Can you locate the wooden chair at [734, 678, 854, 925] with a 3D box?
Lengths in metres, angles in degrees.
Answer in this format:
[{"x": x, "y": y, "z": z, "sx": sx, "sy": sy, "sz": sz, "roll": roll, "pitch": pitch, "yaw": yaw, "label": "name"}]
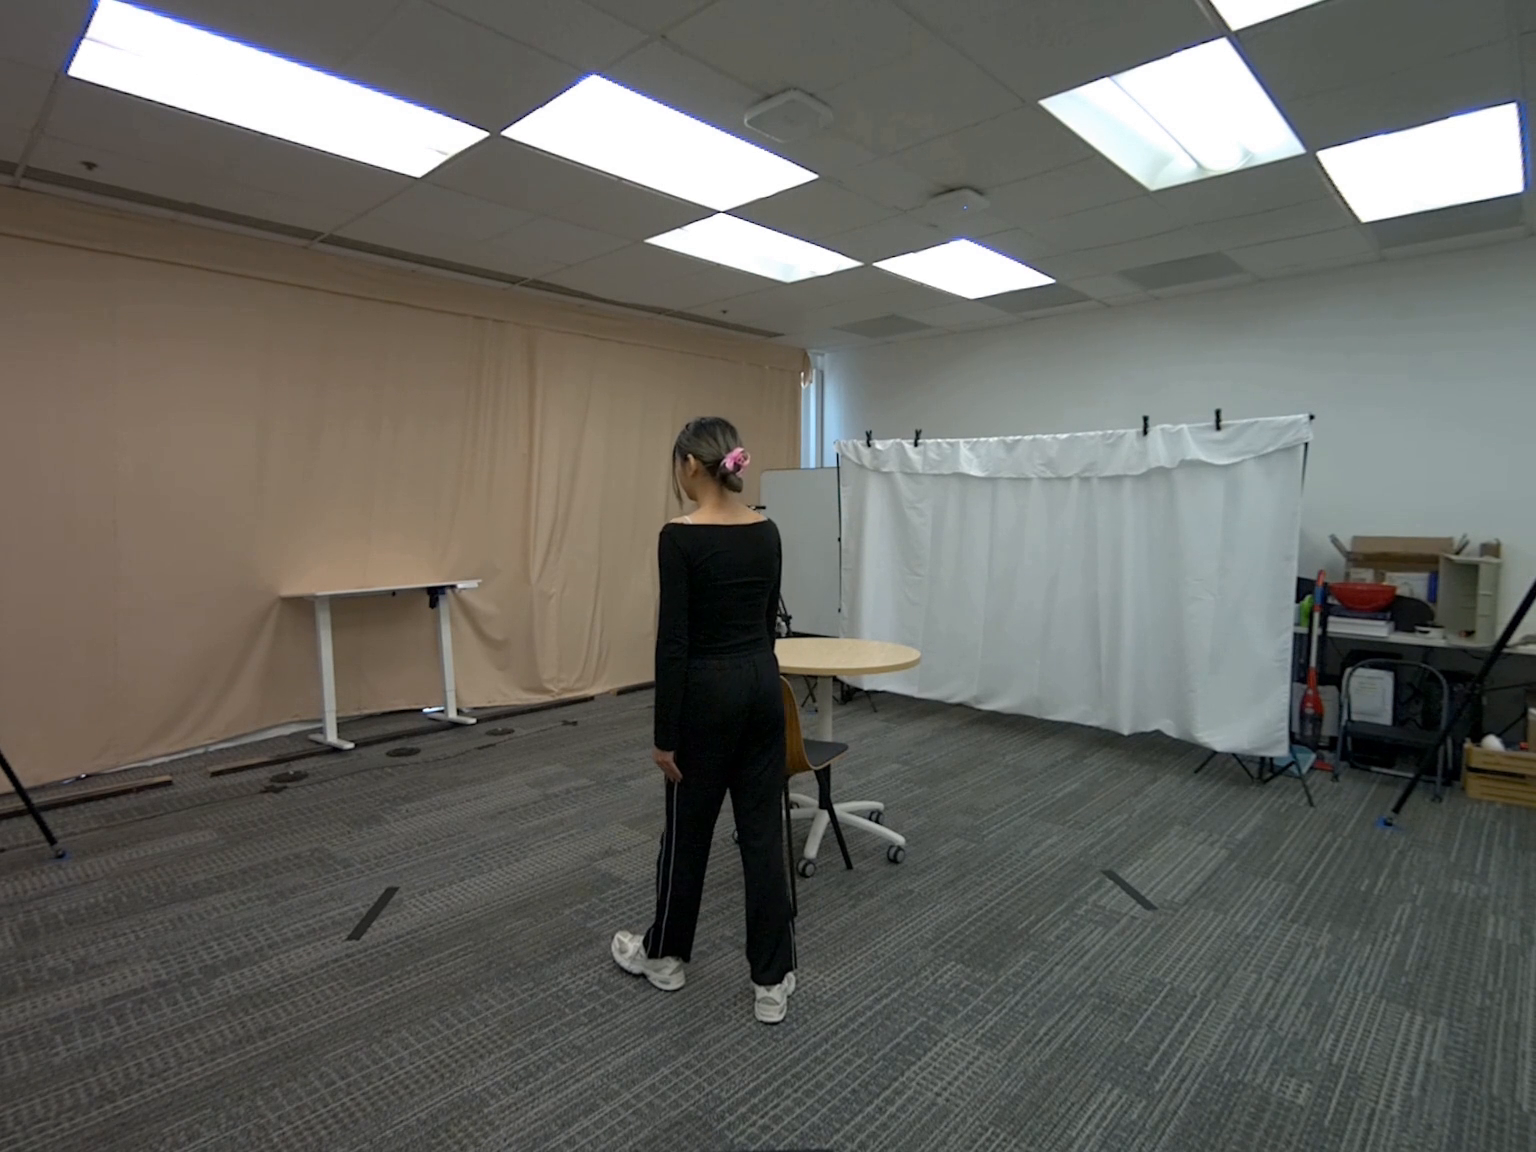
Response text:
[{"x": 0.018, "y": 0.699, "z": 3.134, "sx": 0.492, "sy": 0.873, "sz": 0.510, "roll": 1, "pitch": 8, "yaw": 33, "label": "wooden chair"}]
